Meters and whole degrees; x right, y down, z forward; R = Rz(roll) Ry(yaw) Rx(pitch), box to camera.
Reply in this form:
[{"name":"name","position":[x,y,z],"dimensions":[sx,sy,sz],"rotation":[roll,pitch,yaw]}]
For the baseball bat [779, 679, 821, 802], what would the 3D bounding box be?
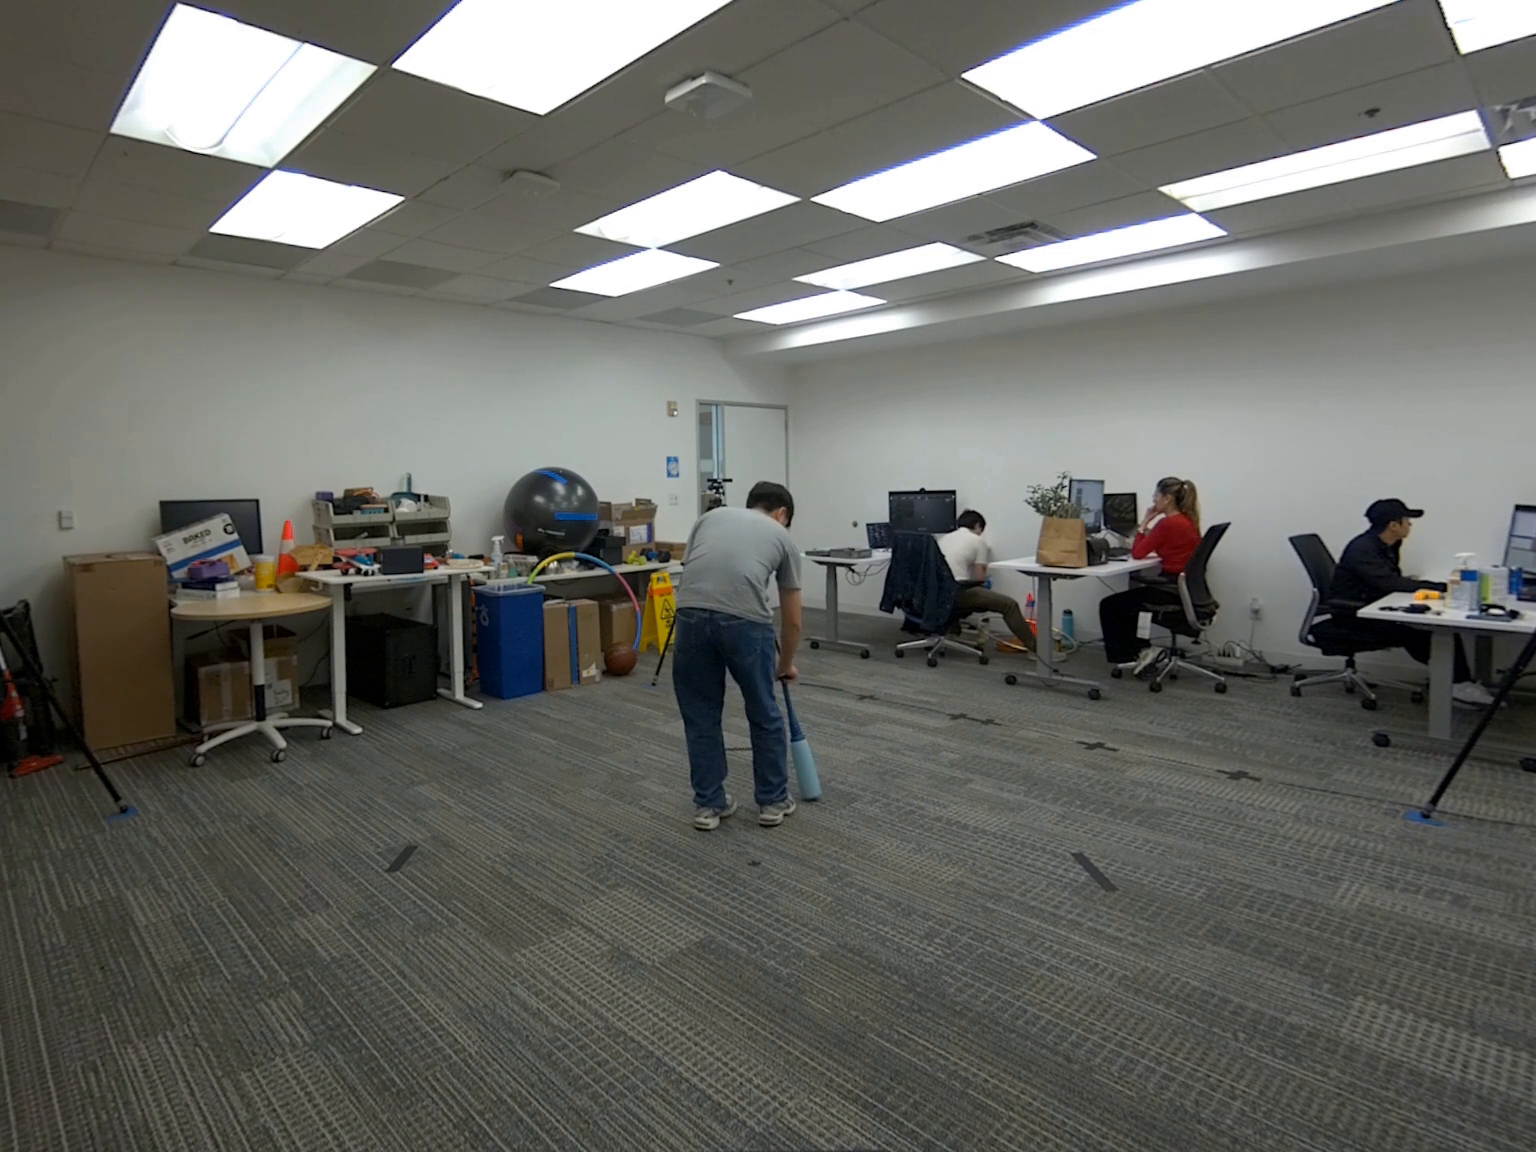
[{"name":"baseball bat","position":[0.141,0.711,3.743],"dimensions":[0.089,0.549,0.088],"rotation":[-14,-9,-4]}]
